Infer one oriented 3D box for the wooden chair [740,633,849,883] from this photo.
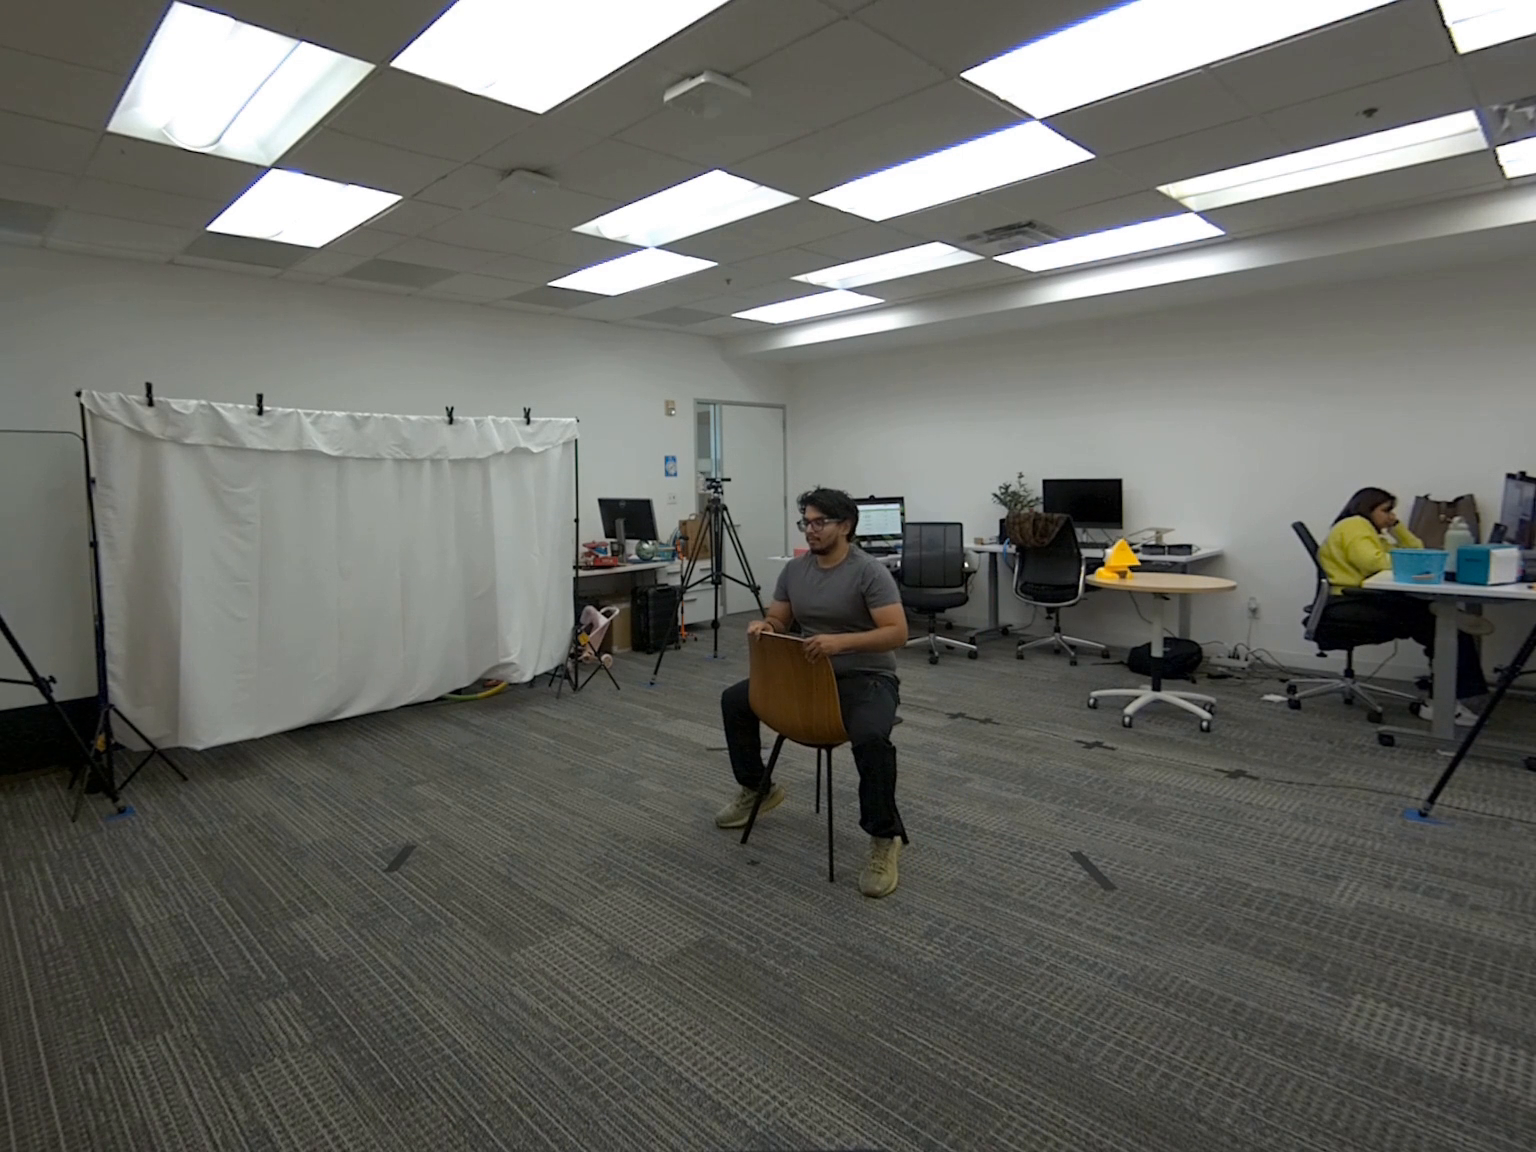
[{"bbox_3d":[0.215,0.597,3.233,0.511,0.872,0.492,-10,9,-44],"label":"wooden chair"}]
